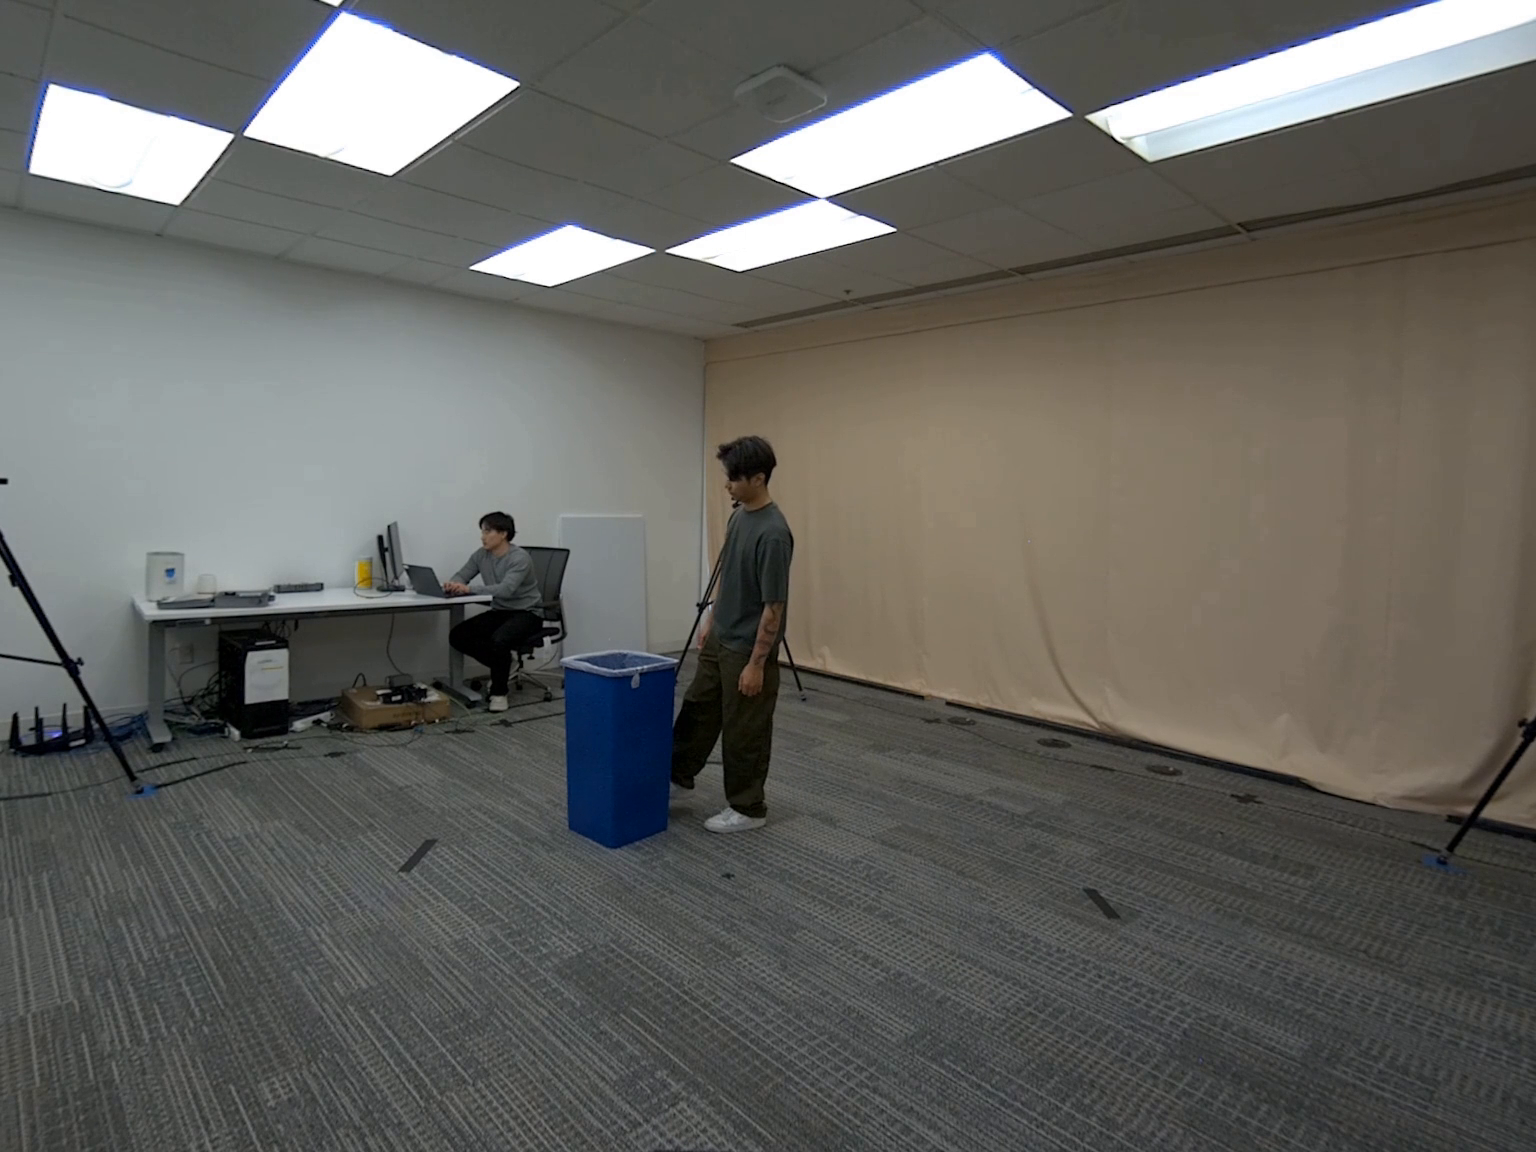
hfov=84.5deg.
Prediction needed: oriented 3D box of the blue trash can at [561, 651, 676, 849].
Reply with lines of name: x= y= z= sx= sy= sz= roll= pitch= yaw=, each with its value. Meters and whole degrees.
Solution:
blue trash can: x=-0.630 y=0.705 z=3.496 sx=0.387 sy=0.712 sz=0.365 roll=4 pitch=3 yaw=40
